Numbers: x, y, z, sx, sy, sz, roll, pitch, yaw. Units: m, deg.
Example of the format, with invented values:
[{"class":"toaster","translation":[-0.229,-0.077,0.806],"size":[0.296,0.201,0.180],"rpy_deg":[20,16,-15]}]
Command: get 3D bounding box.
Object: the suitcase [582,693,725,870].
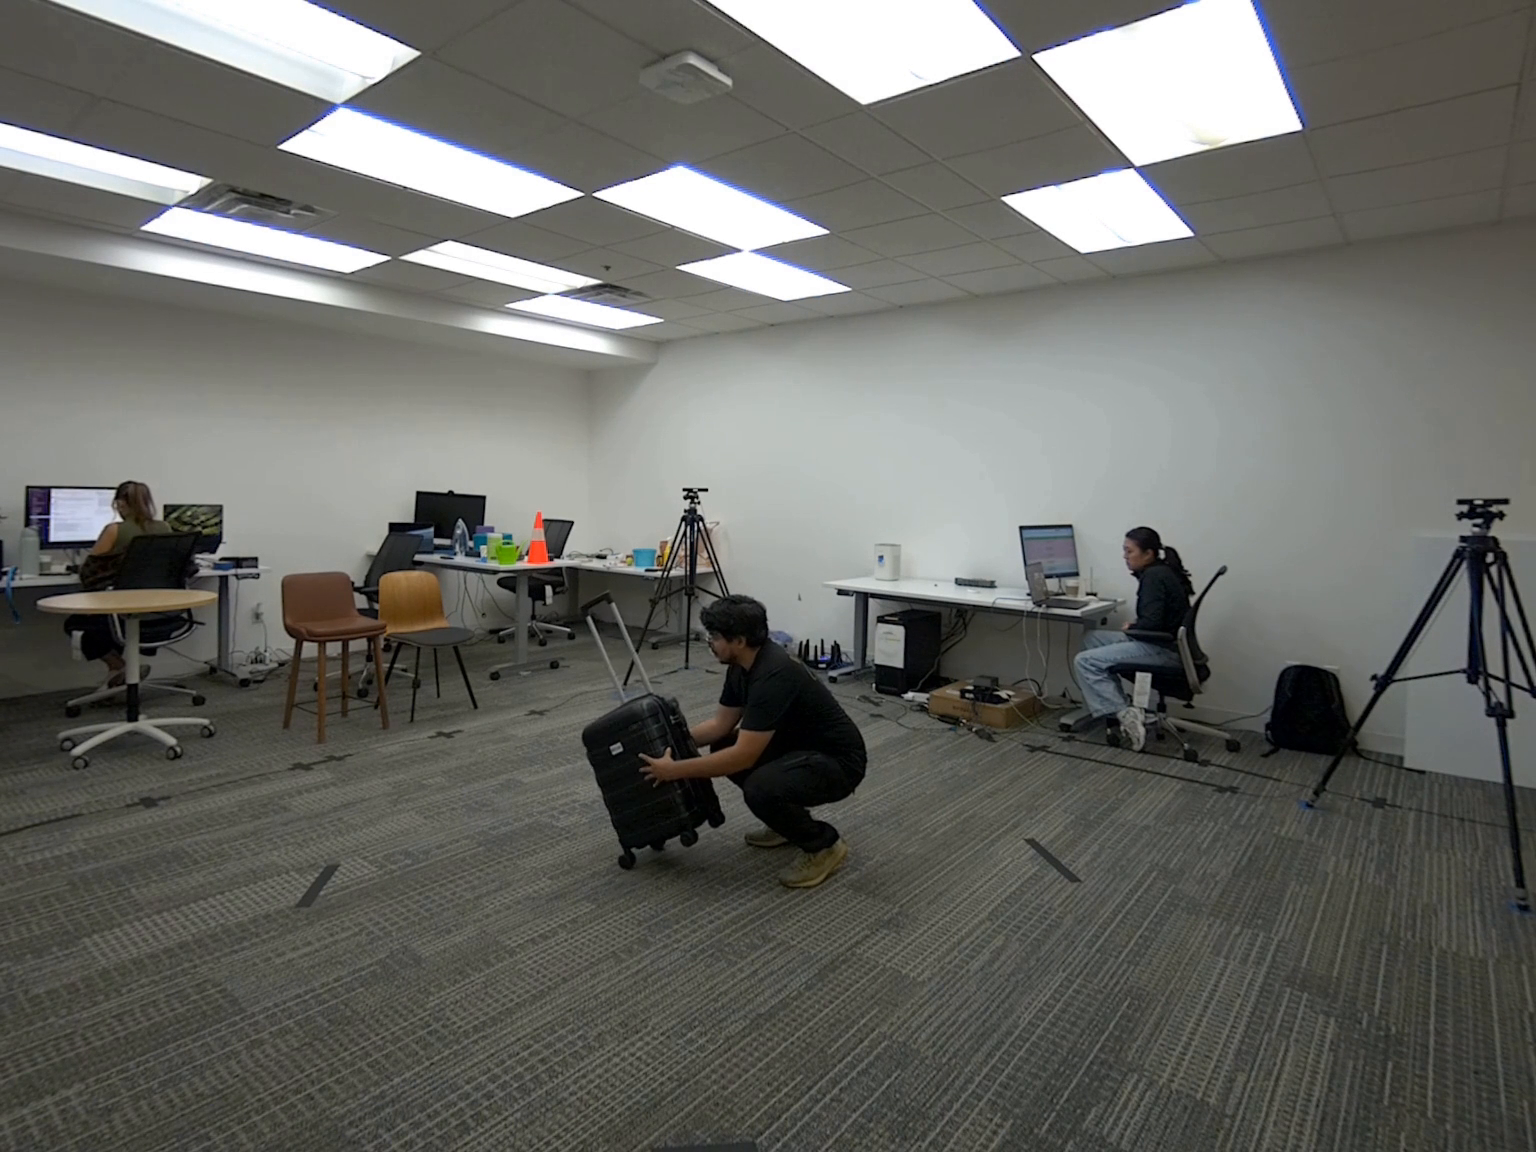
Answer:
[{"class":"suitcase","translation":[-0.536,0.555,3.212],"size":[0.388,0.990,0.251],"rpy_deg":[-28,-9,25]}]
